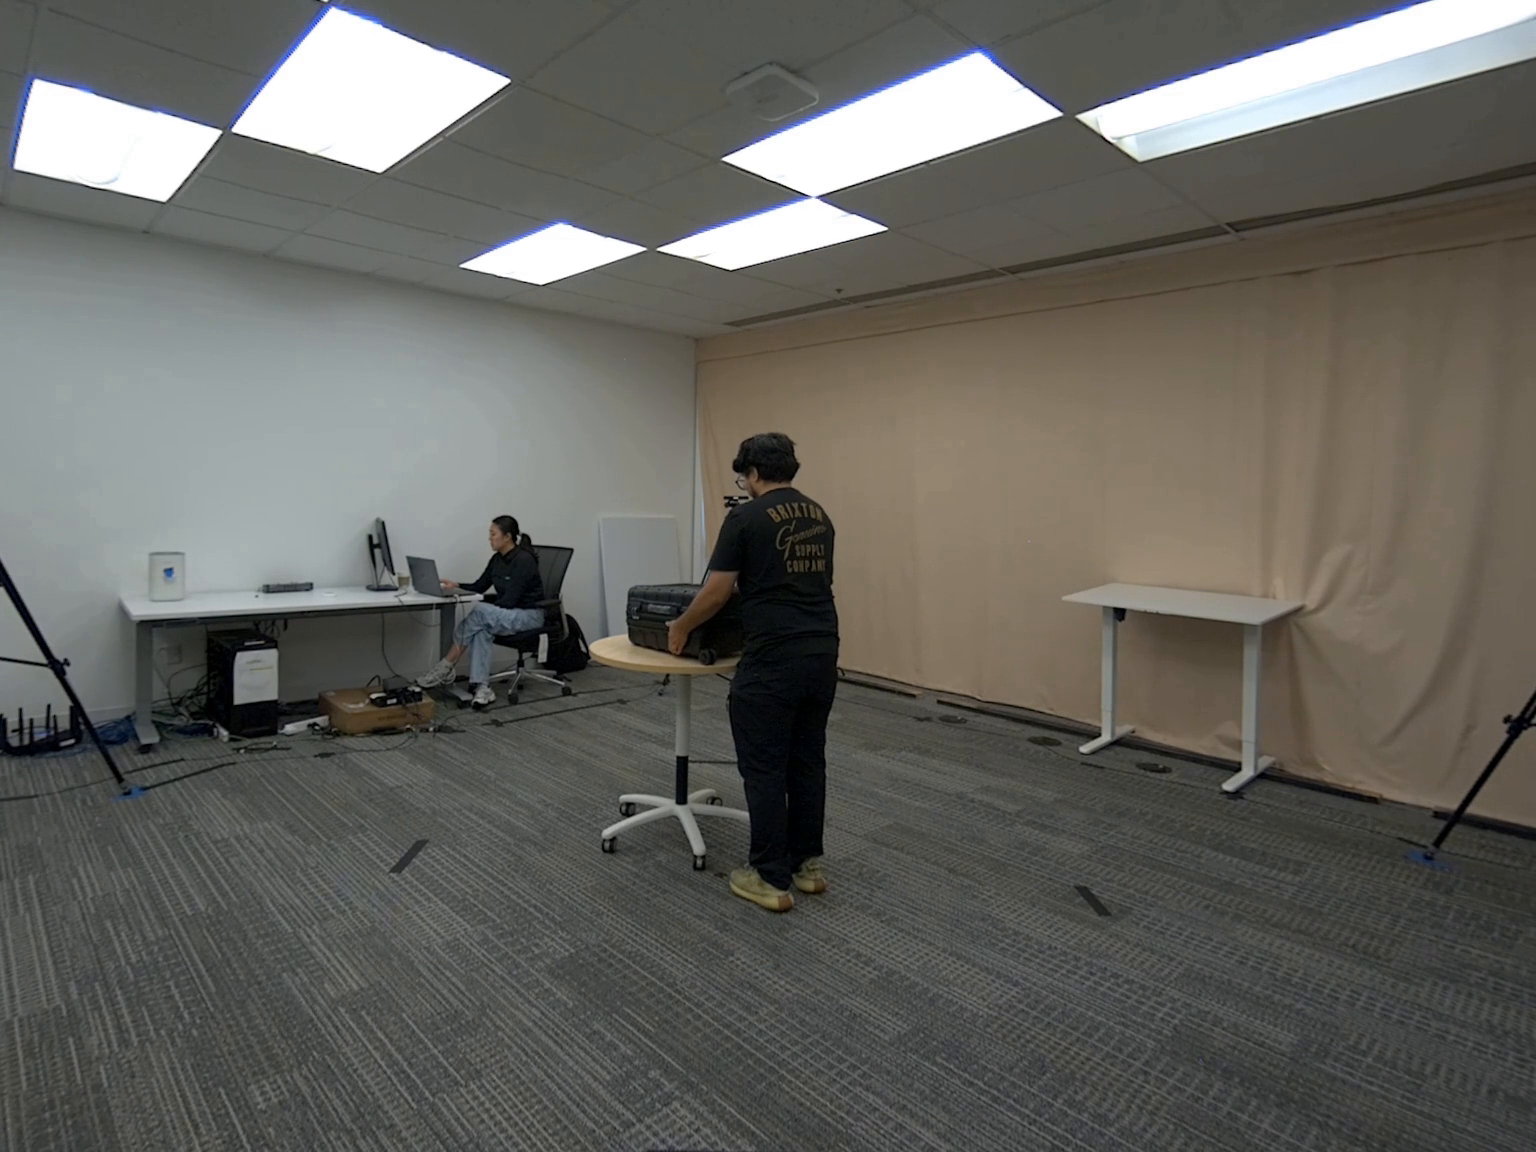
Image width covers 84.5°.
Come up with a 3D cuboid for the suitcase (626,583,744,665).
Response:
[{"bbox_3d":[-0.293,0.171,3.361,0.367,0.248,0.563,-3,6,-44],"label":"suitcase"}]
